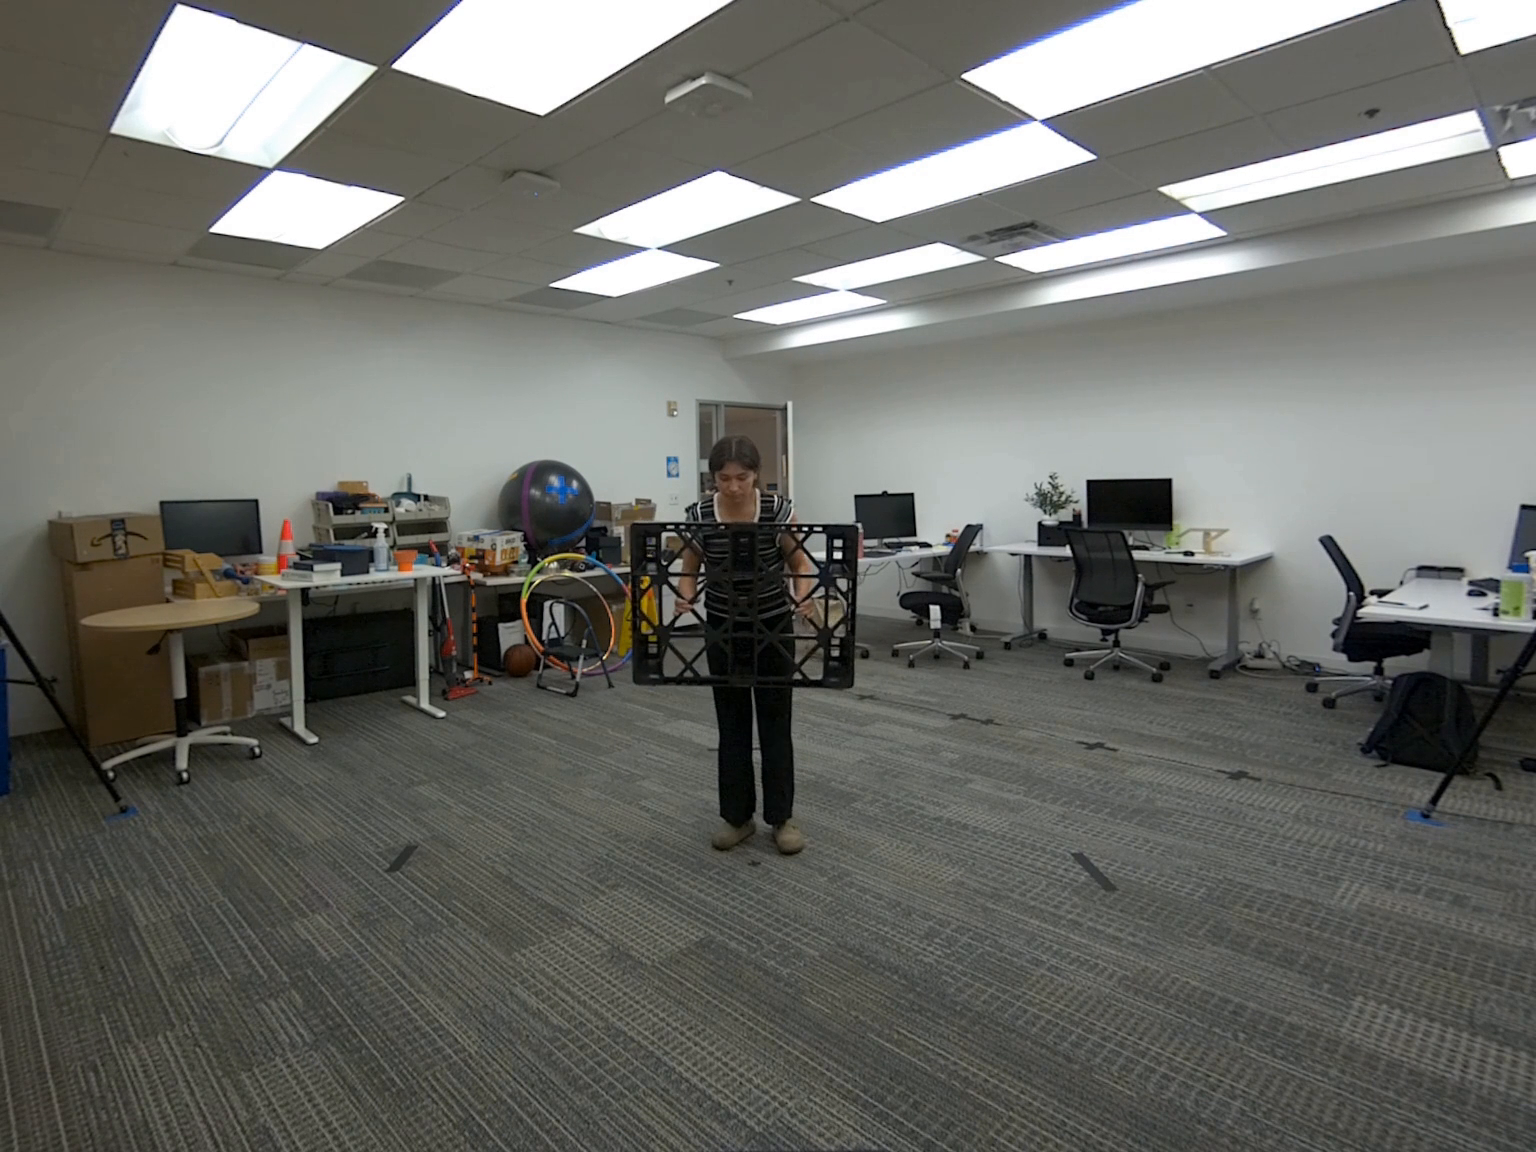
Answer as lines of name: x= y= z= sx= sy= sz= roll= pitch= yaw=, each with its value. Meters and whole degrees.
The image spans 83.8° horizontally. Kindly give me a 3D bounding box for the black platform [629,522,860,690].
black platform: x=-0.088 y=0.097 z=3.076 sx=0.808 sy=0.600 sz=0.144 roll=1 pitch=10 yaw=3
